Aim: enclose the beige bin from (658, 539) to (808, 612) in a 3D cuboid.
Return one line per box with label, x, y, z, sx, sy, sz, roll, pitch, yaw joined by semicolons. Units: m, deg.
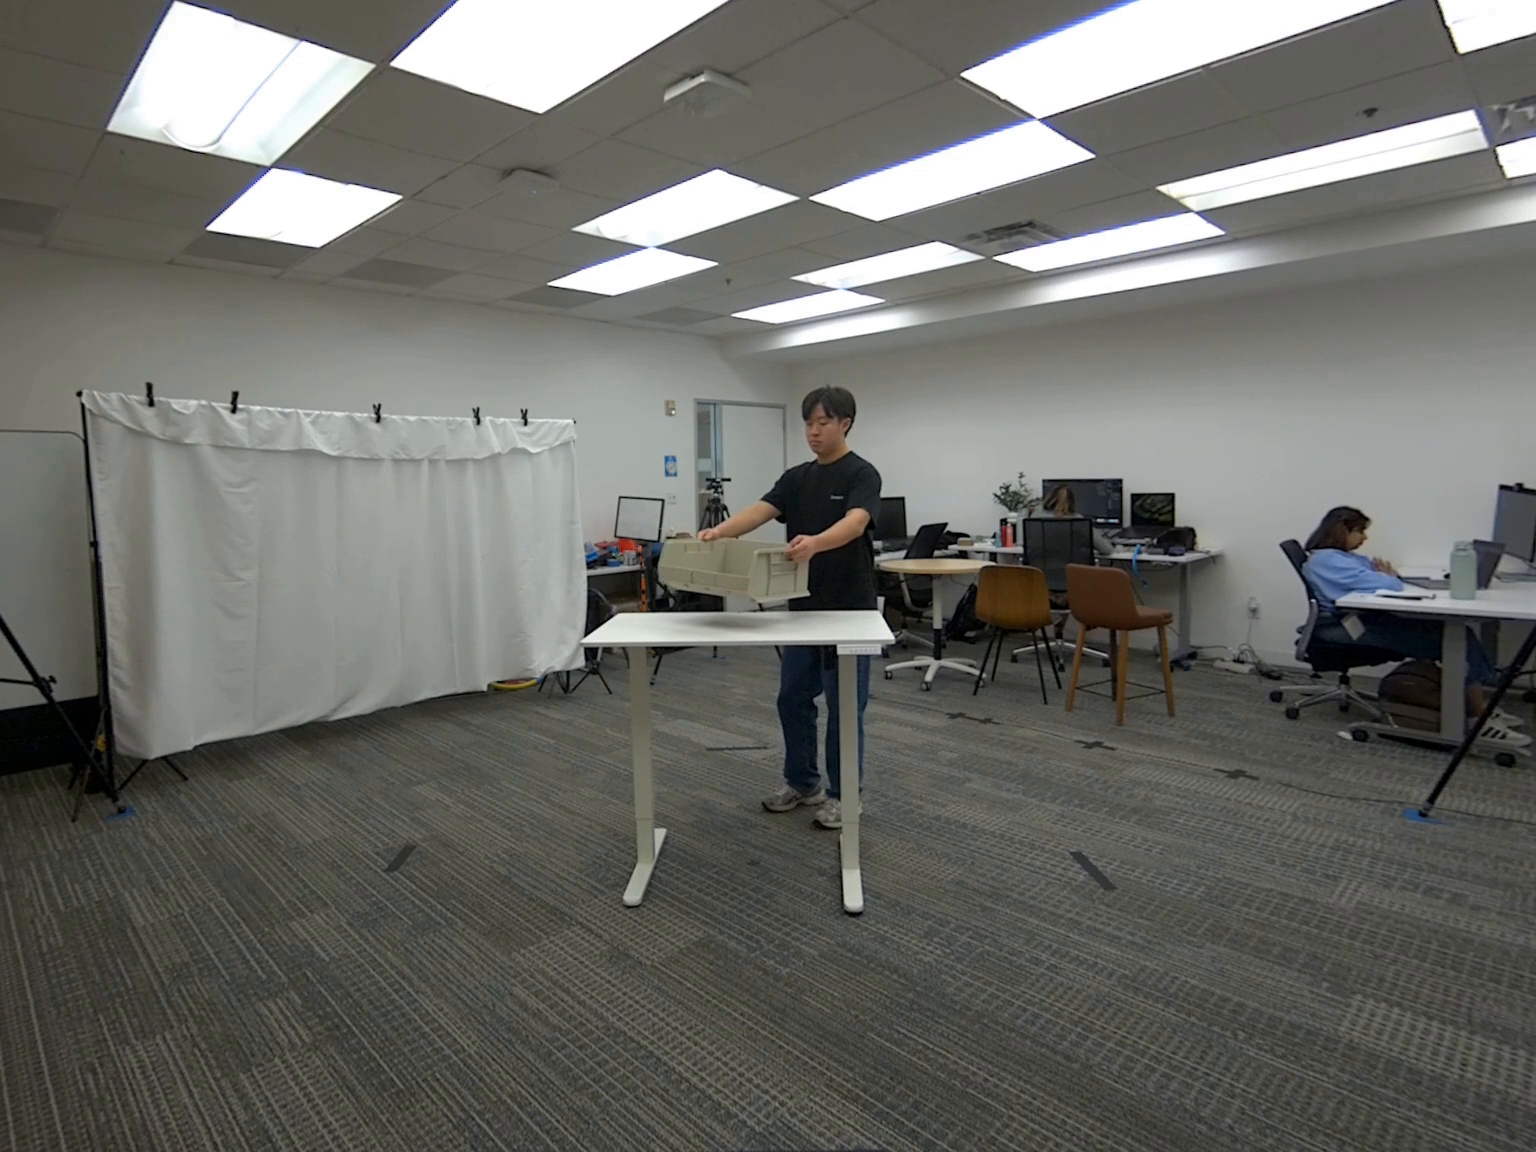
beige bin;-0.118;-0.022;3.055;0.435;0.188;0.367;6;6;38
